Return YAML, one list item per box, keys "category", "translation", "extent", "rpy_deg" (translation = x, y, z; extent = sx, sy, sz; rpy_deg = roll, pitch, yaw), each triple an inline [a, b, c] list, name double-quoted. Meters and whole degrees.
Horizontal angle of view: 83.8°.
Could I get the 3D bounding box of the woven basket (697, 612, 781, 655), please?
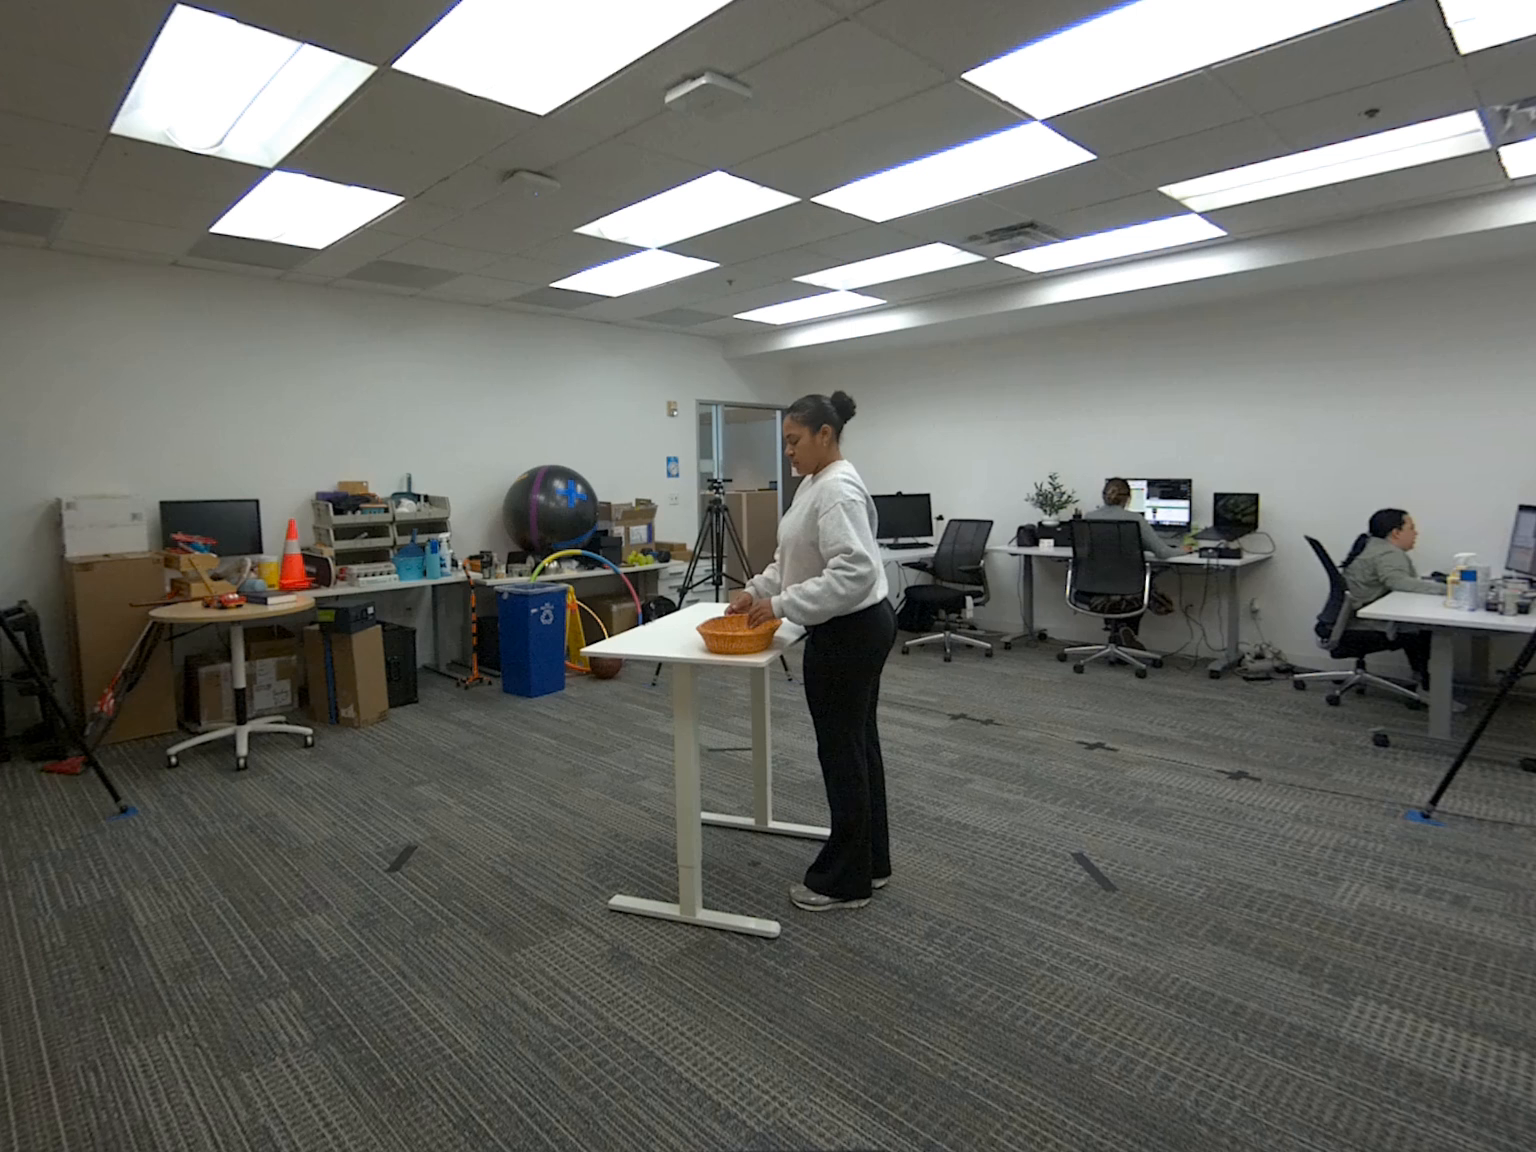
- category: "woven basket"
  translation: [-0.063, 0.186, 2.651]
  extent: [0.257, 0.073, 0.346]
  rpy_deg: [1, 8, 17]
